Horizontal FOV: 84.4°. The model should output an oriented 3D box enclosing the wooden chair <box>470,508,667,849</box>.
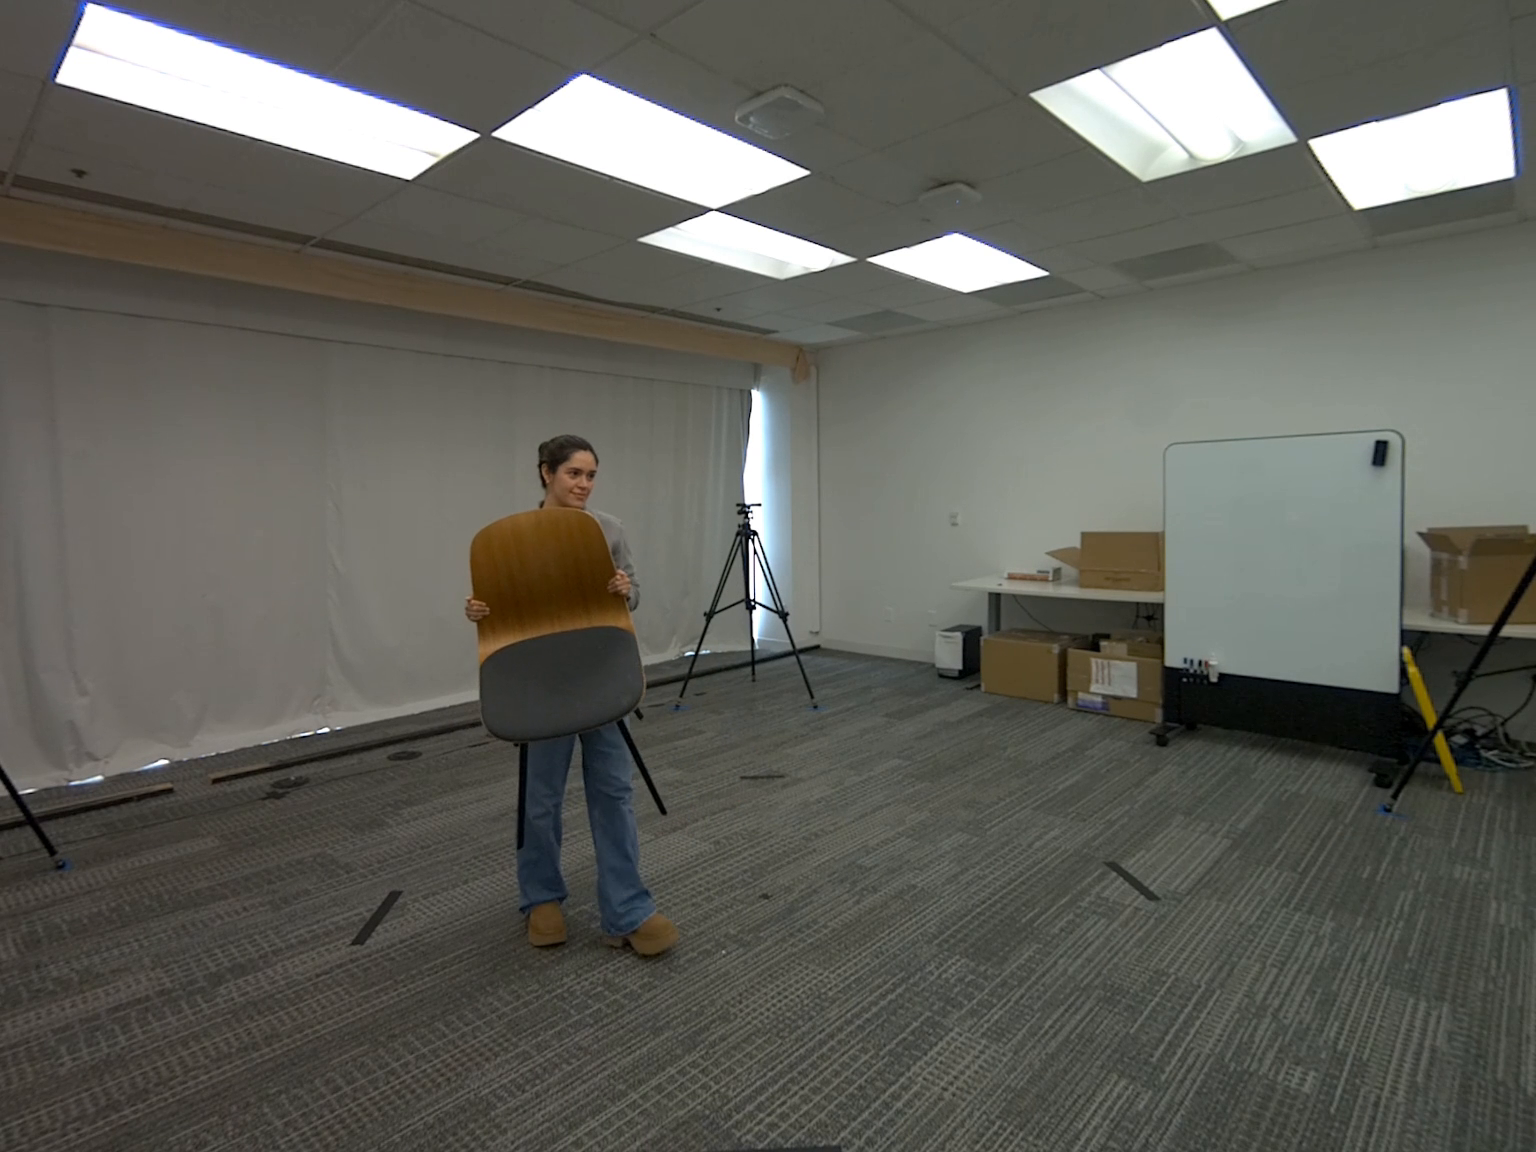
[{"bbox_3d":[-0.578,0.304,2.487,0.473,0.862,0.538,-11,28,-11],"label":"wooden chair"}]
